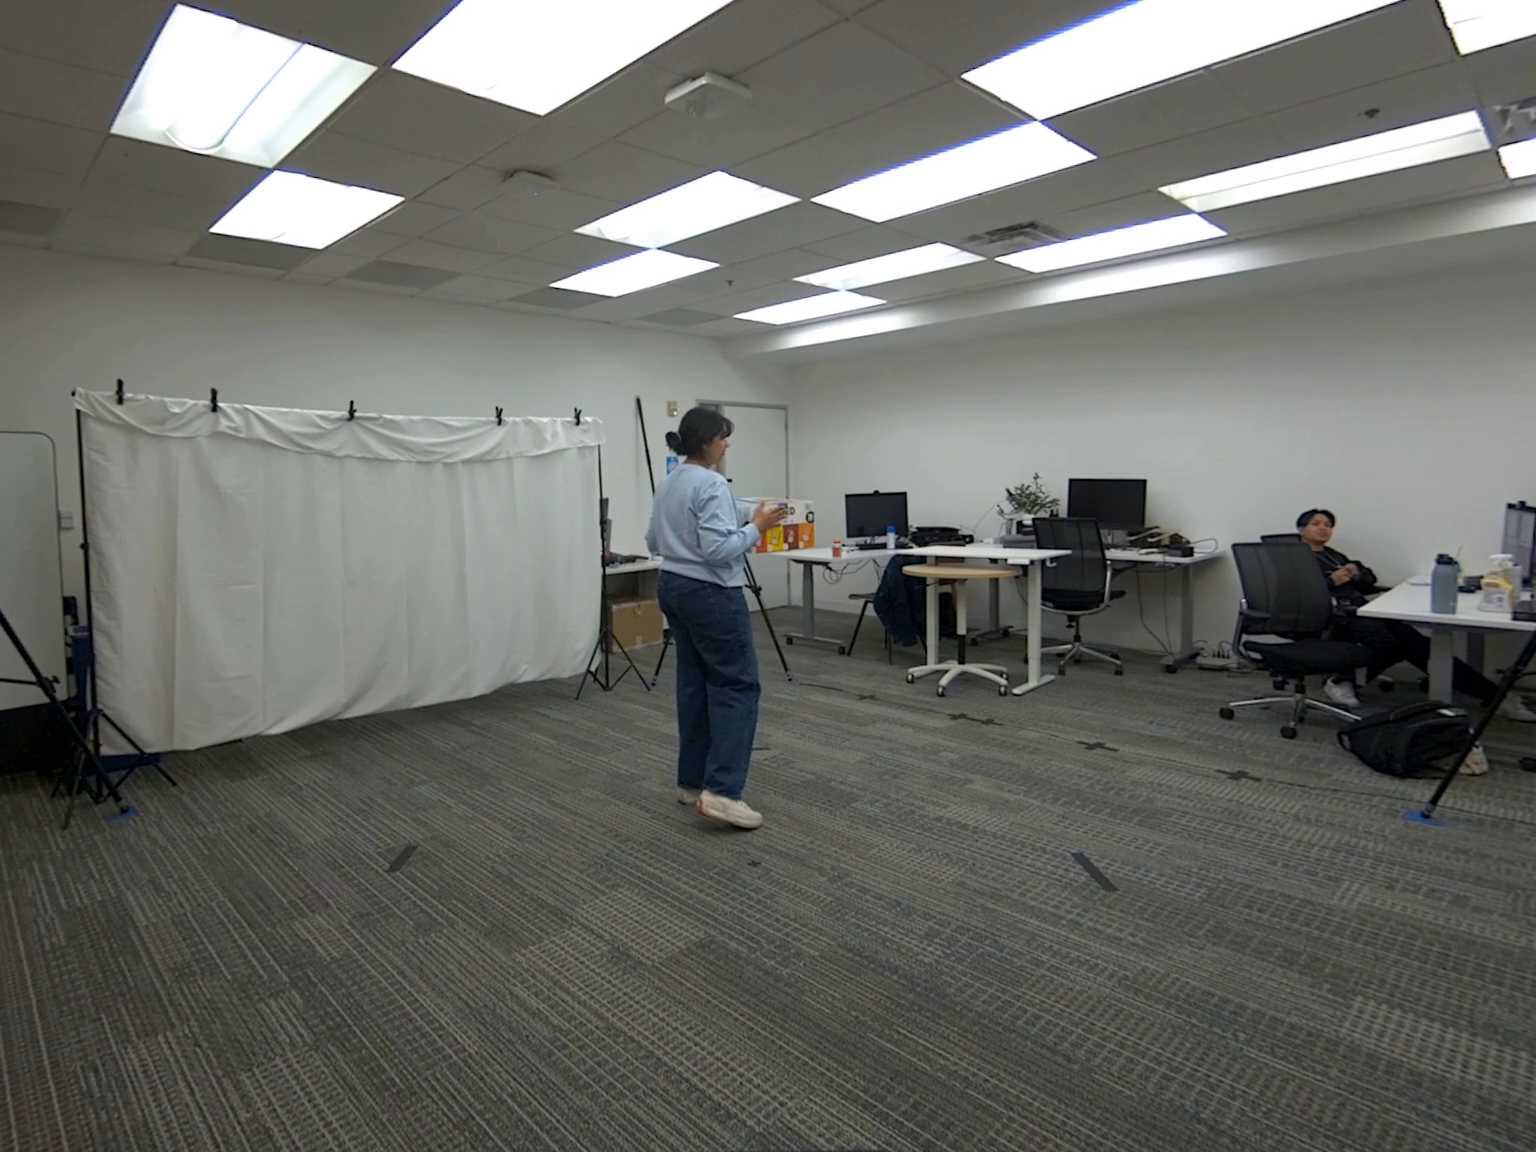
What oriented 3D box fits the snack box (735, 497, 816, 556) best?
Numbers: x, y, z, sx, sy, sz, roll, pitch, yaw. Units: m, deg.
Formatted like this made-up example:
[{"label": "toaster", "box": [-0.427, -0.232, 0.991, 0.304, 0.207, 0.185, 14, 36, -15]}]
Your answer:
[{"label": "snack box", "box": [-0.051, -0.232, 3.829, 0.332, 0.204, 0.417, -7, 10, -33]}]
